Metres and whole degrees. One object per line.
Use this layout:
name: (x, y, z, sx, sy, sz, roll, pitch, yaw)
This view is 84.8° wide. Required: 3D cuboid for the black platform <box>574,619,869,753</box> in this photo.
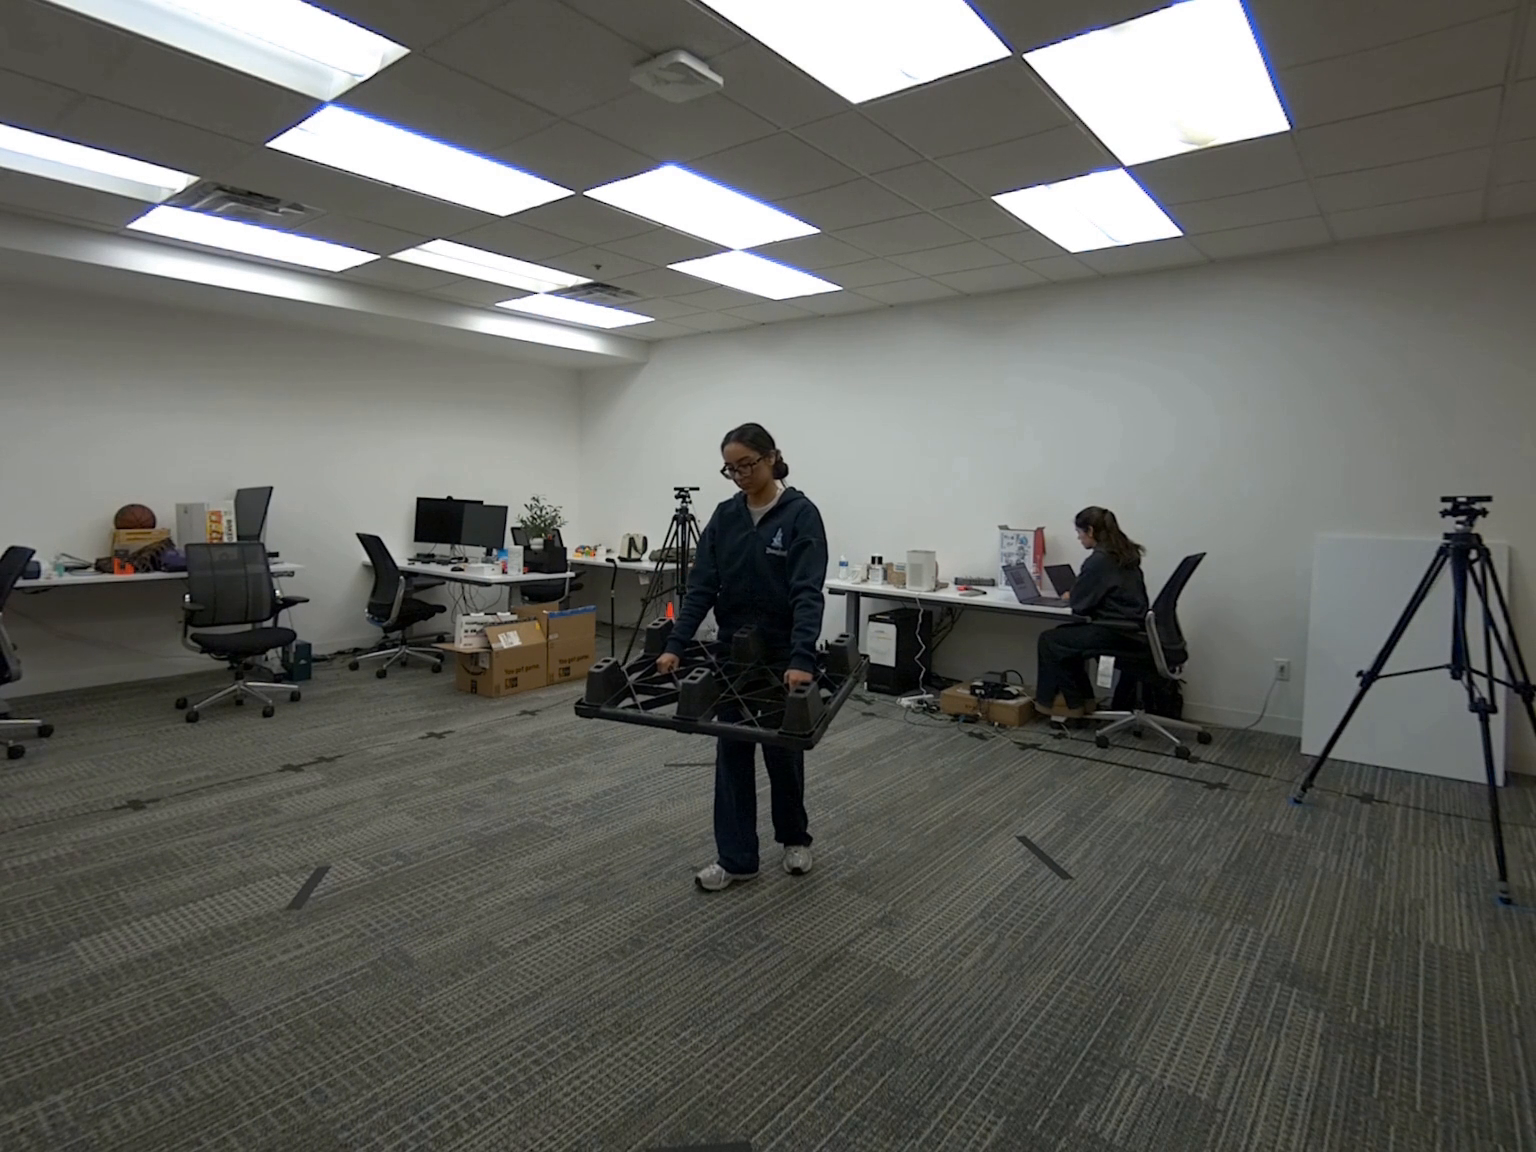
black platform: (-0.146, 0.304, 2.750, 0.826, 0.141, 0.601, 3, 20, 24)
